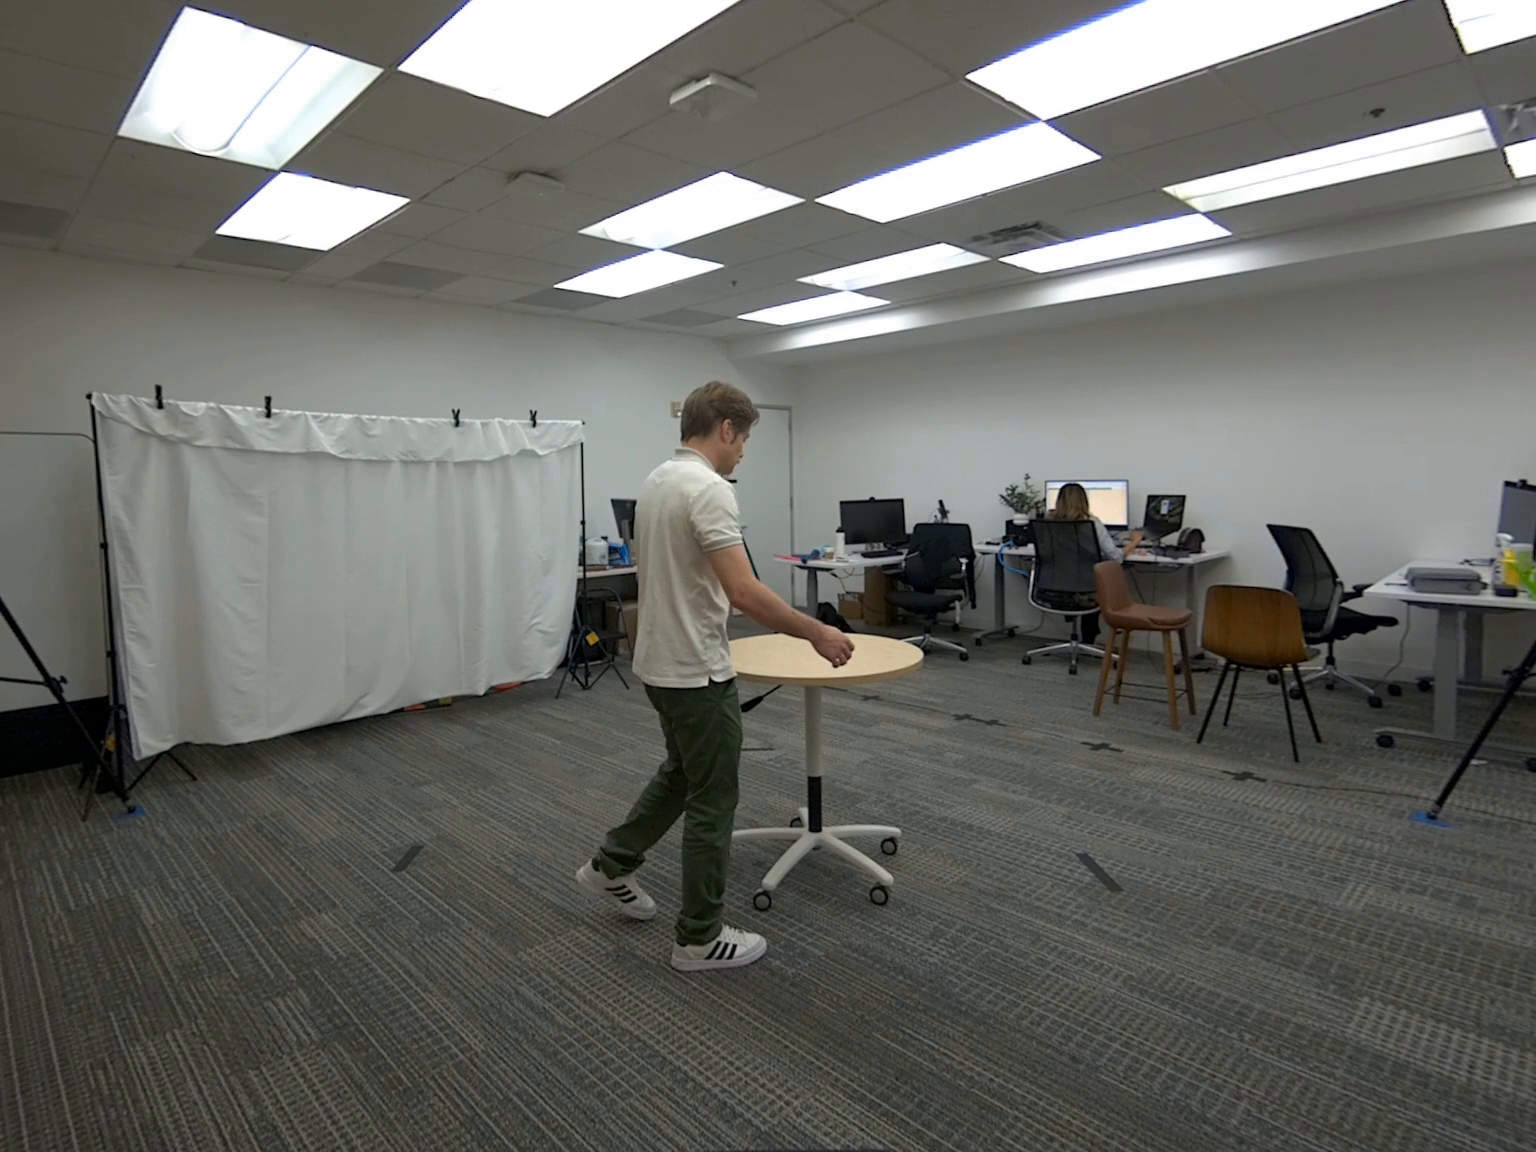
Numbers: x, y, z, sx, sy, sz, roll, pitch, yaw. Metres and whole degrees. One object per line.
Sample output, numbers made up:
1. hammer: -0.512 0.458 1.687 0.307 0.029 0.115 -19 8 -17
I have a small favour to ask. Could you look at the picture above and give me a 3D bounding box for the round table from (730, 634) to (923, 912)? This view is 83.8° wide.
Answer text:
1. round table: 0.165 0.661 3.045 0.763 0.791 0.768 -1 5 -2
